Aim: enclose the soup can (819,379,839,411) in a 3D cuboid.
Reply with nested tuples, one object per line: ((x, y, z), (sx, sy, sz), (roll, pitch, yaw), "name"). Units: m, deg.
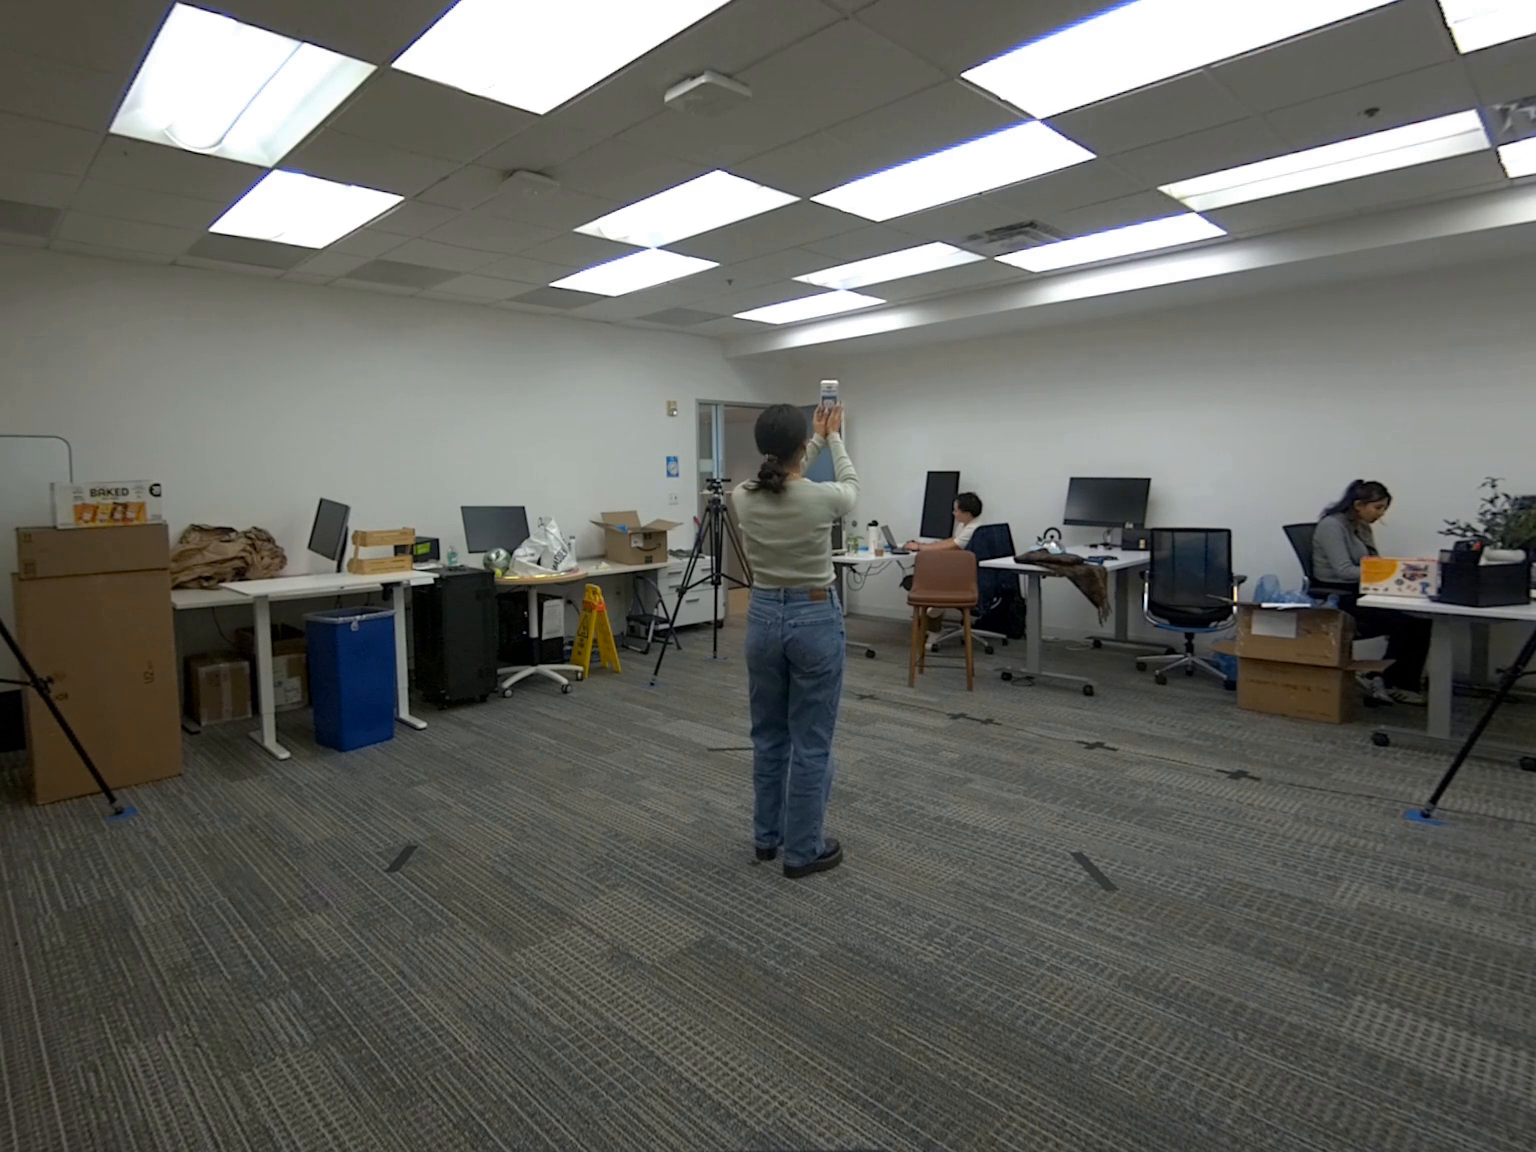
((0.229, -0.686, 3.268), (0.067, 0.120, 0.068), (-2, 13, -1), "soup can")
